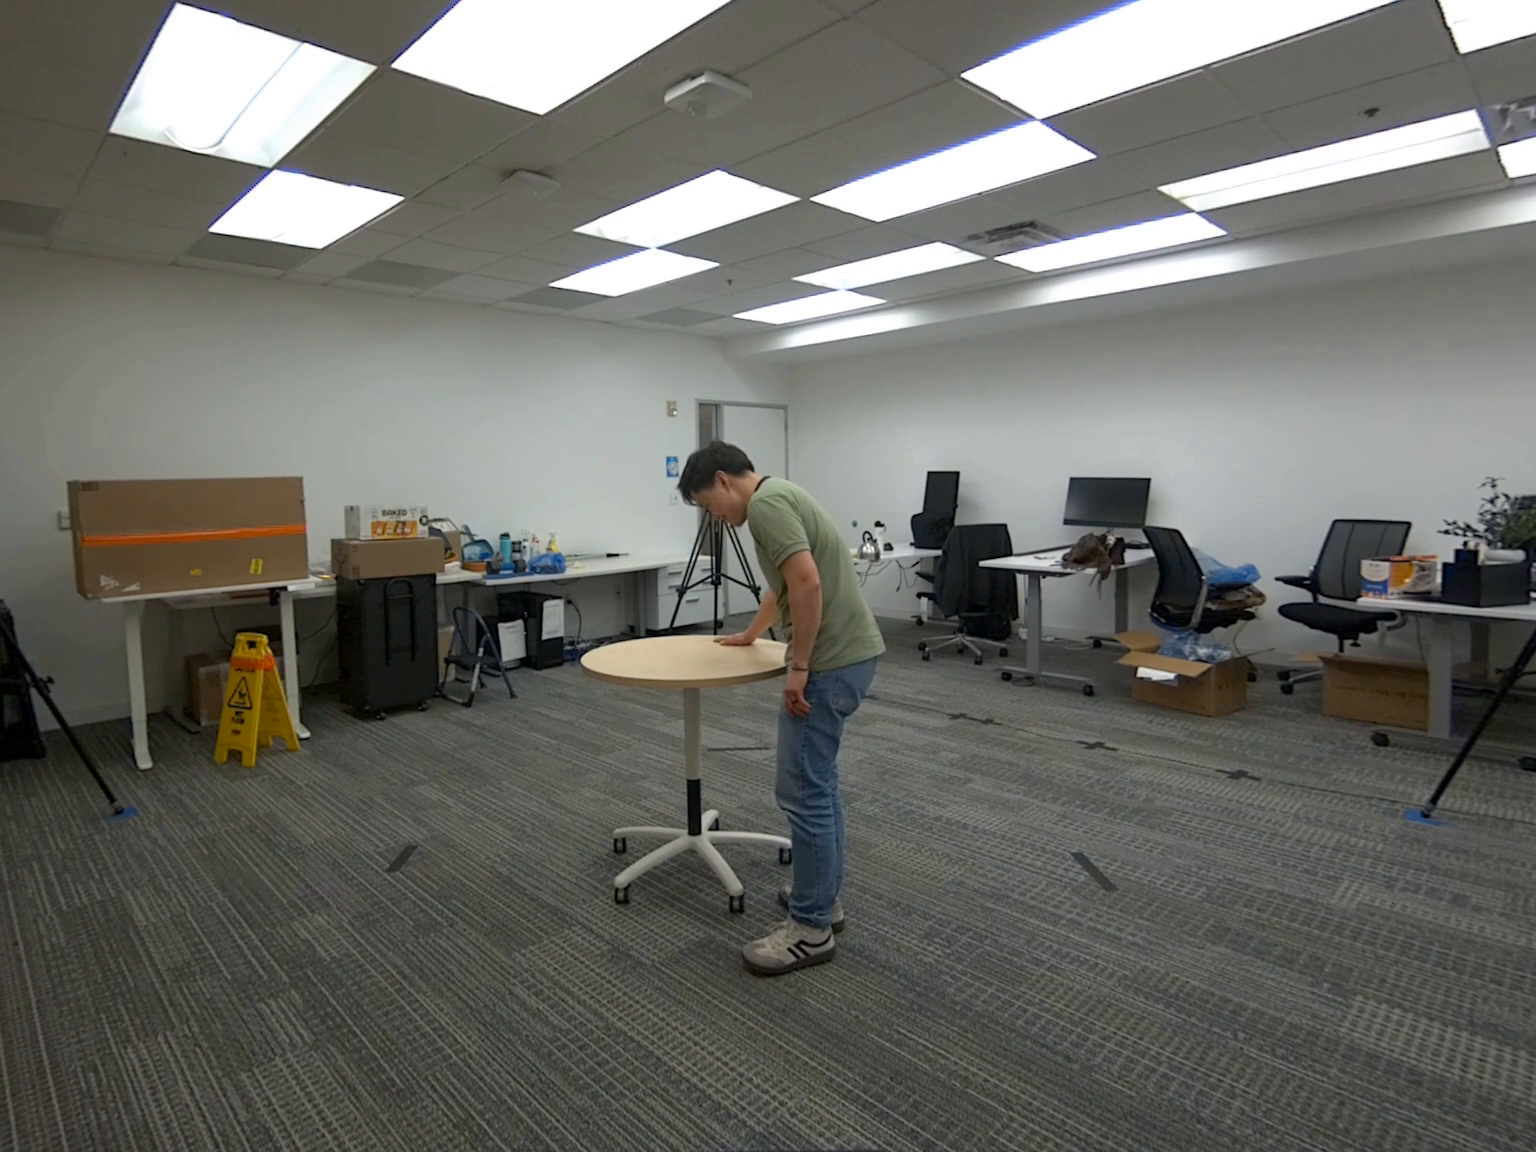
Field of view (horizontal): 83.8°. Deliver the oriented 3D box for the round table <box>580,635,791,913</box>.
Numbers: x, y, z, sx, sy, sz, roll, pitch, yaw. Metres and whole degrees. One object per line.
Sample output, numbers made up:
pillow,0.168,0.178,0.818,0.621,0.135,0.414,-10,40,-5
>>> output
round table,-0.264,0.669,3.025,0.763,0.791,0.768,-1,5,-2
